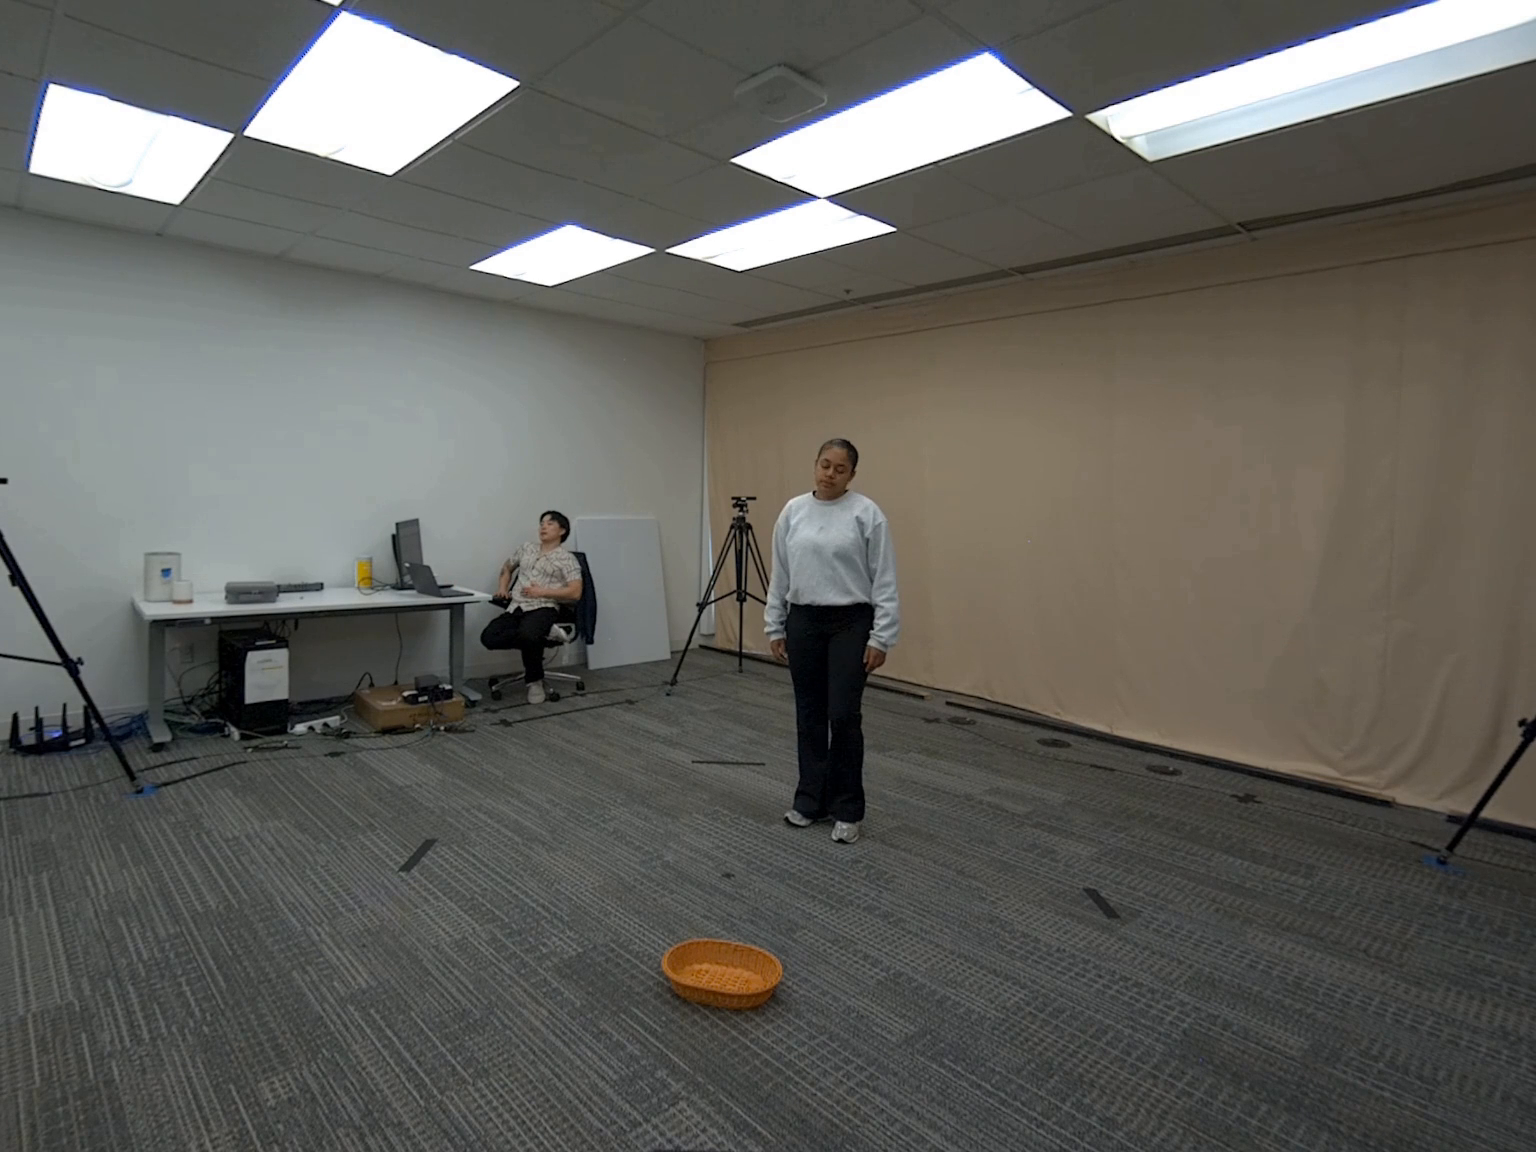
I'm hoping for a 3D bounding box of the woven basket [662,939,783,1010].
[{"bbox_3d":[-0.139,1.135,2.387,0.355,0.073,0.250,3,5,16],"label":"woven basket"}]
